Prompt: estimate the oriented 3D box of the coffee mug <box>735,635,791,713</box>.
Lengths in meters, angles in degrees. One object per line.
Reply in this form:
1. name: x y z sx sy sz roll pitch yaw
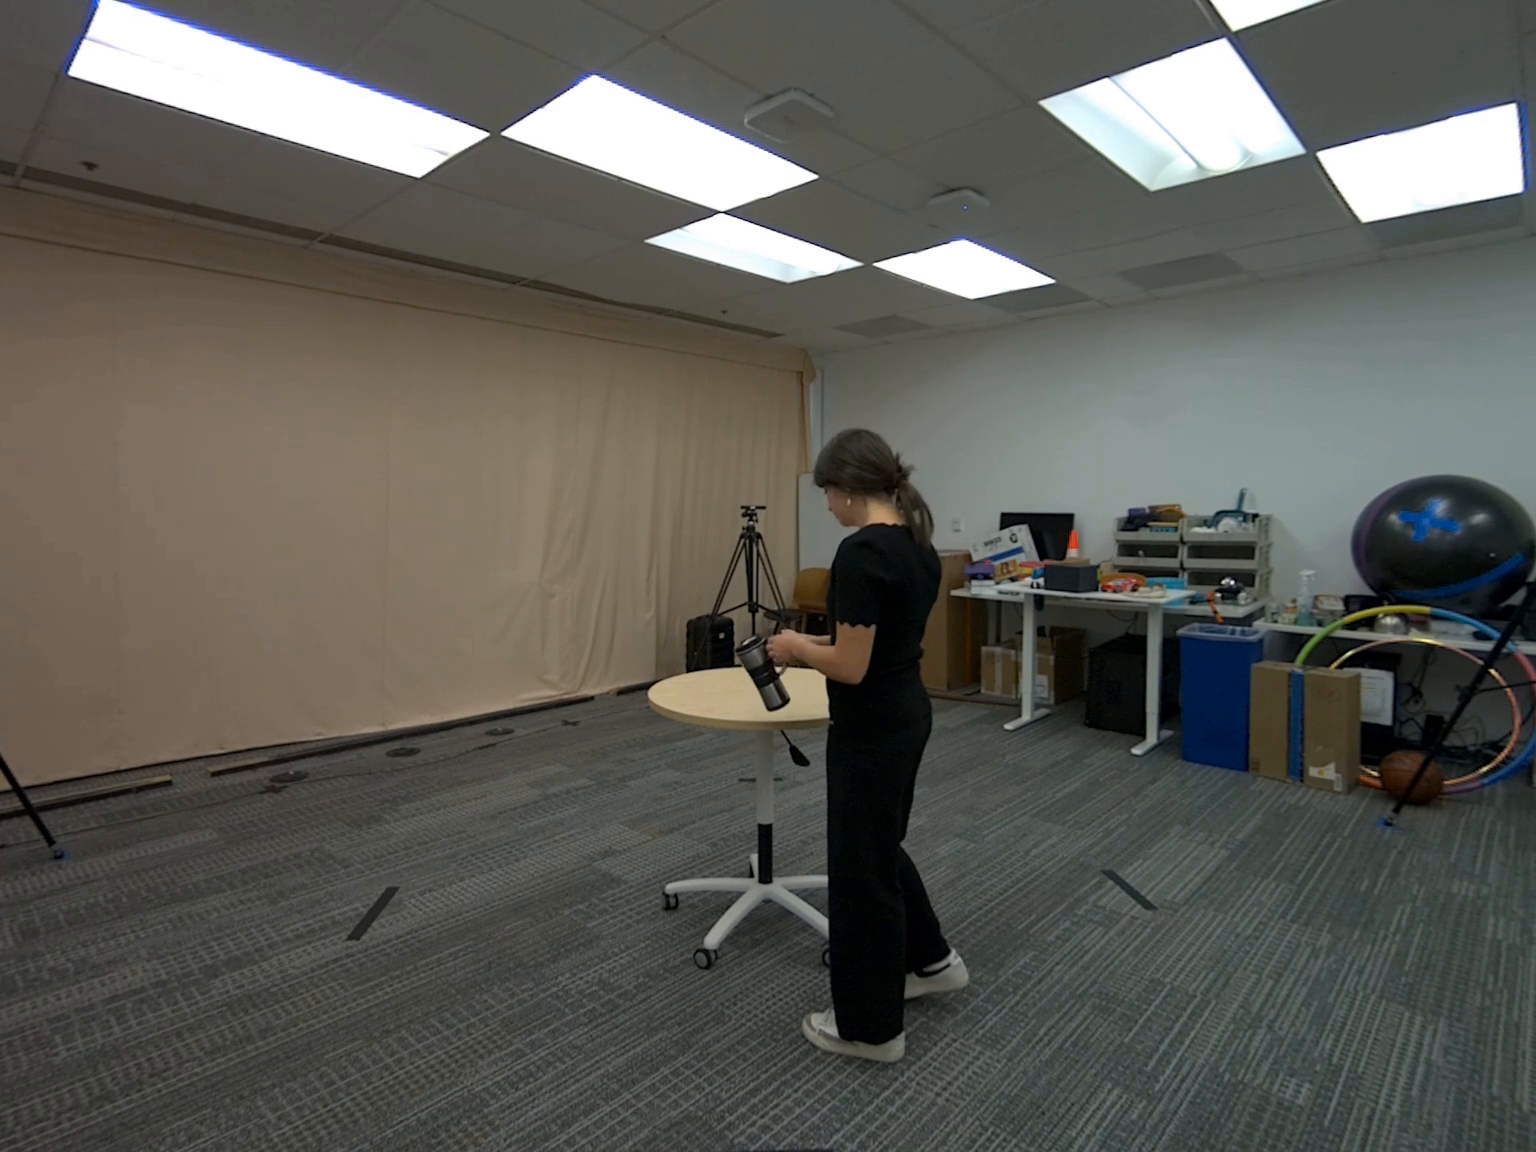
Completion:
1. coffee mug: 0.011 0.267 2.285 0.125 0.202 0.086 -22 5 44
